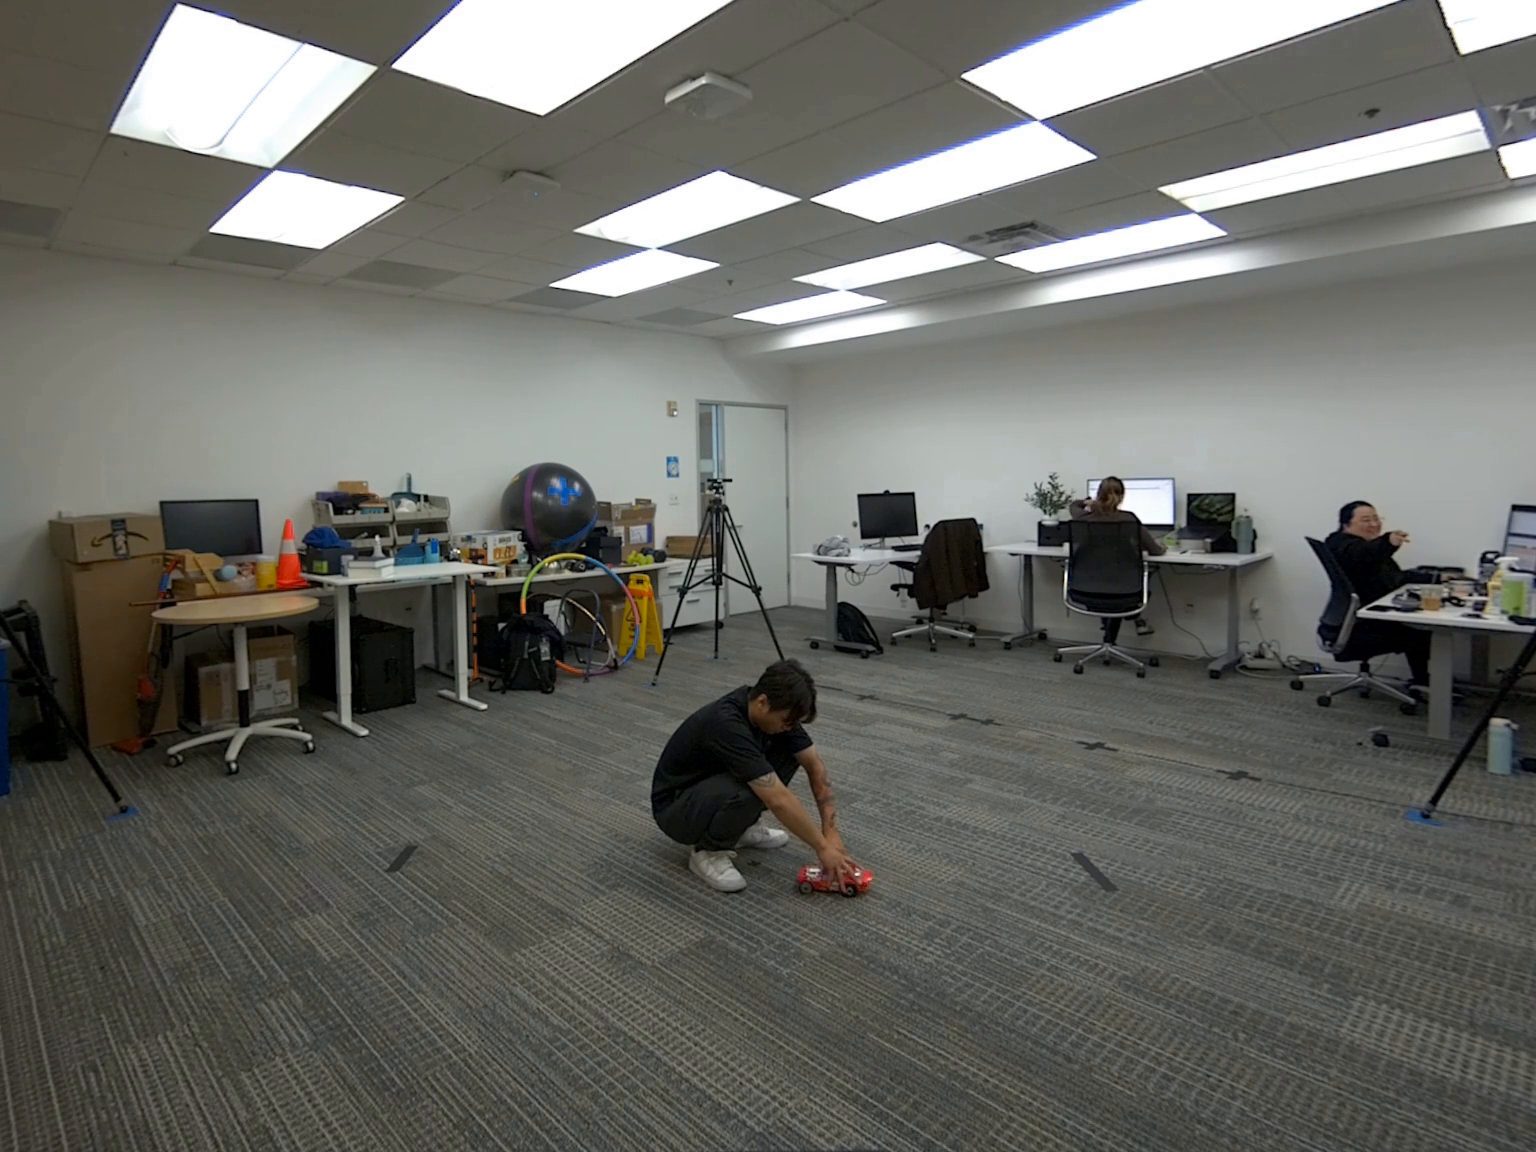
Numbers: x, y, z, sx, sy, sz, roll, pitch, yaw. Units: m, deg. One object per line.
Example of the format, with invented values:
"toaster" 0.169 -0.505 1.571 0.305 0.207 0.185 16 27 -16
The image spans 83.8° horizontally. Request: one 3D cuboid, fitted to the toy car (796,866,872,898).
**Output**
"toy car" 0.233 1.030 2.897 0.257 0.083 0.129 -9 3 10
